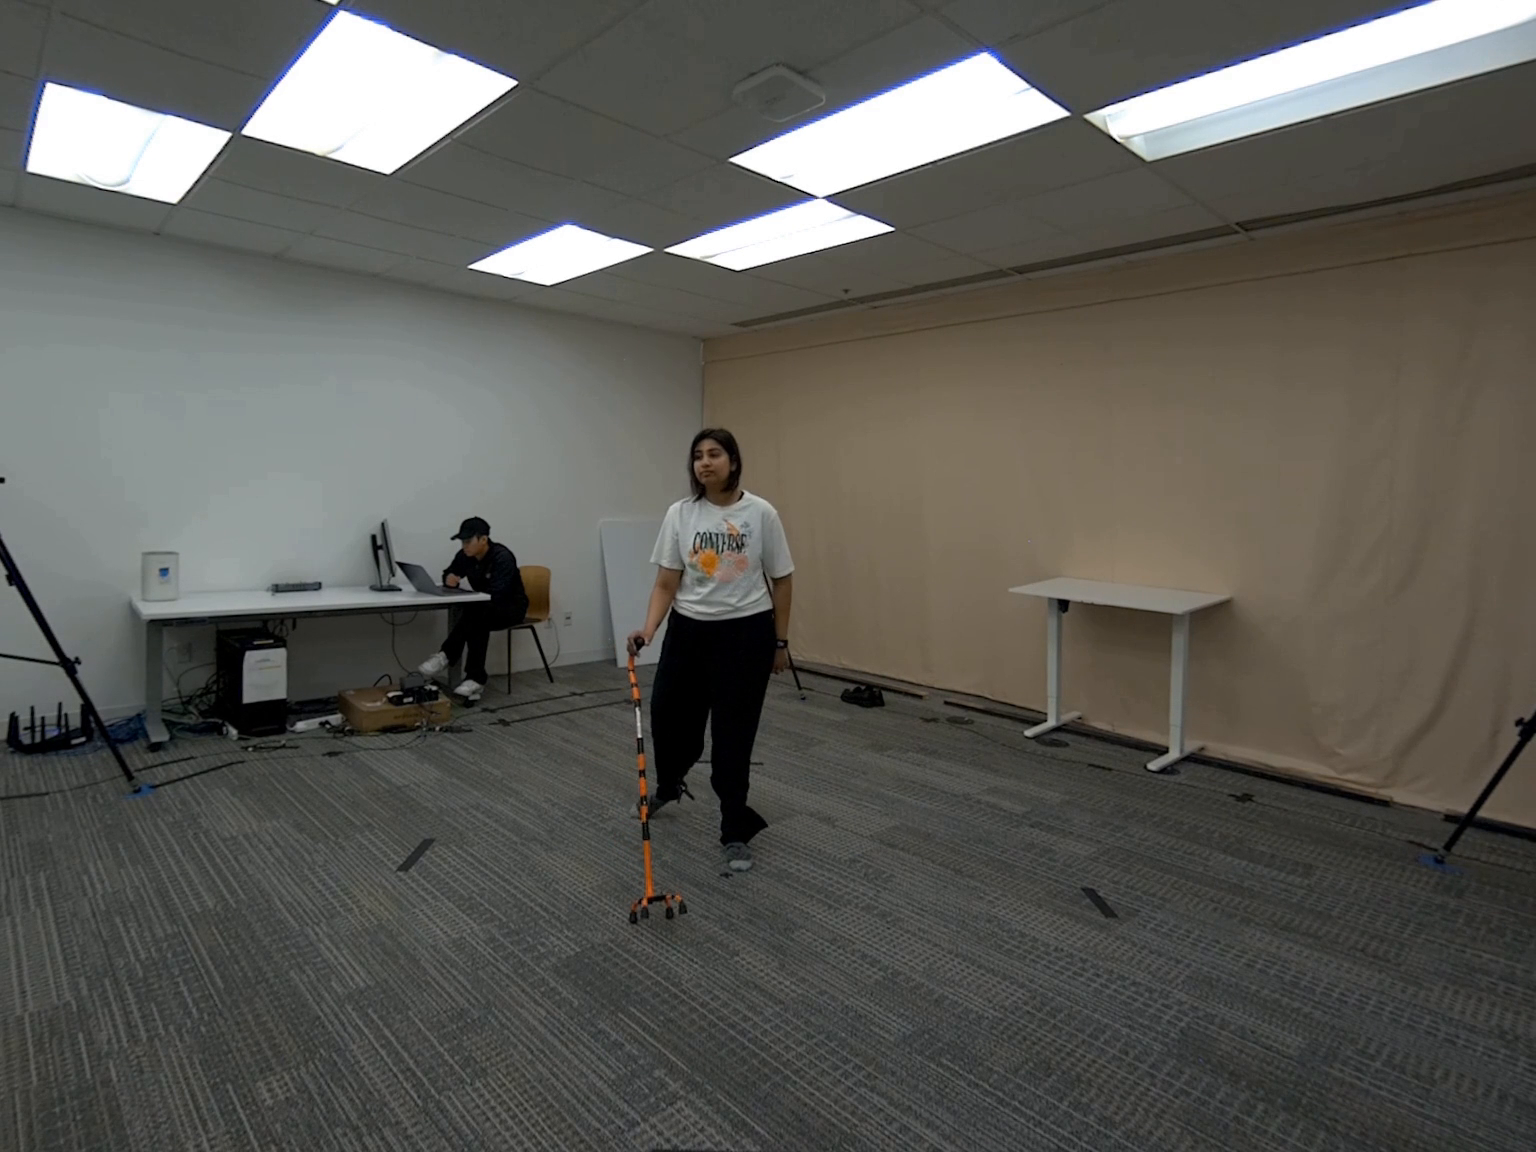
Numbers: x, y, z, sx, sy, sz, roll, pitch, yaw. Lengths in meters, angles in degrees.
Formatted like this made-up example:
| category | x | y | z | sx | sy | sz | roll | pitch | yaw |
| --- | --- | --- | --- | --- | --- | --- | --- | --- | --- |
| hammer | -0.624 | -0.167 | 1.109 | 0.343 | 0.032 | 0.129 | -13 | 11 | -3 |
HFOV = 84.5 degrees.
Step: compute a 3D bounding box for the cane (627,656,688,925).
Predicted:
| category | x | y | z | sx | sy | sz | roll | pitch | yaw |
| --- | --- | --- | --- | --- | --- | --- | --- | --- | --- |
| cane | -0.420 | 0.678 | 2.864 | 0.149 | 0.925 | 0.206 | 2 | -26 | -21 |
